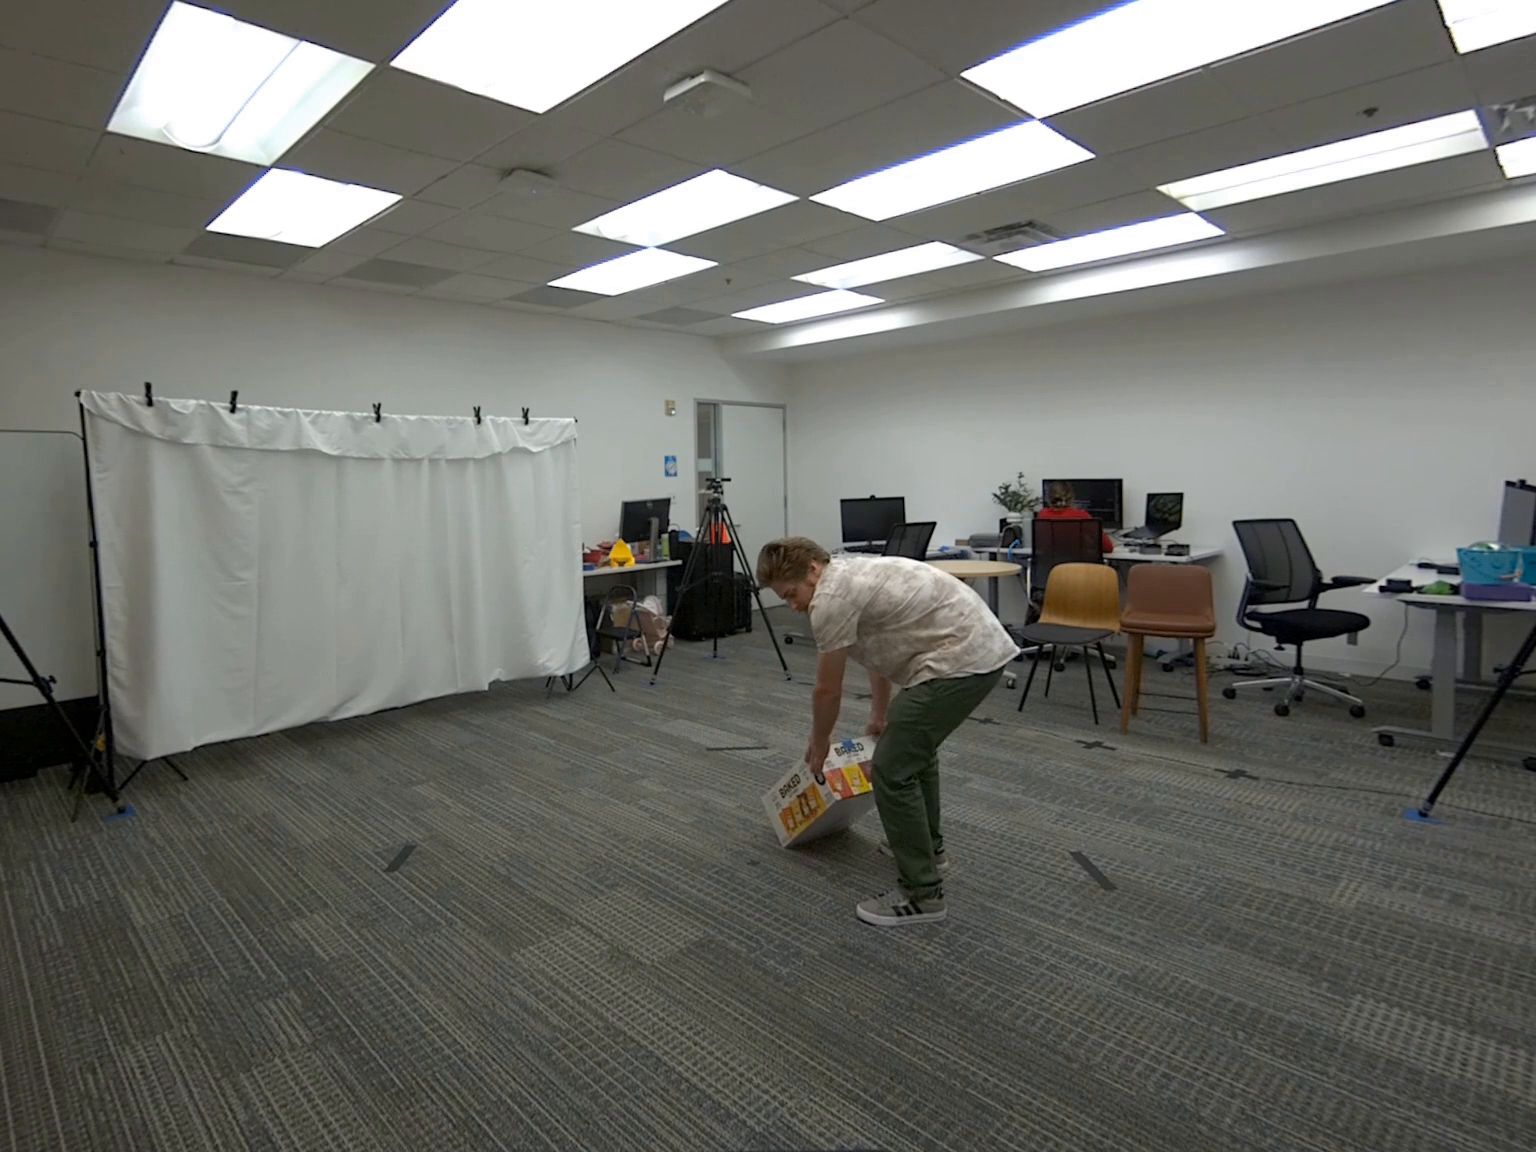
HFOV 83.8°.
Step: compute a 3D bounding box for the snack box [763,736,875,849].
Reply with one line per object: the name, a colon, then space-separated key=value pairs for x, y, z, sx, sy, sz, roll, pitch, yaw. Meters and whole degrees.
snack box: x=0.245 y=0.815 z=3.237 sx=0.331 sy=0.212 sz=0.402 roll=-3 pitch=-37 yaw=-35
